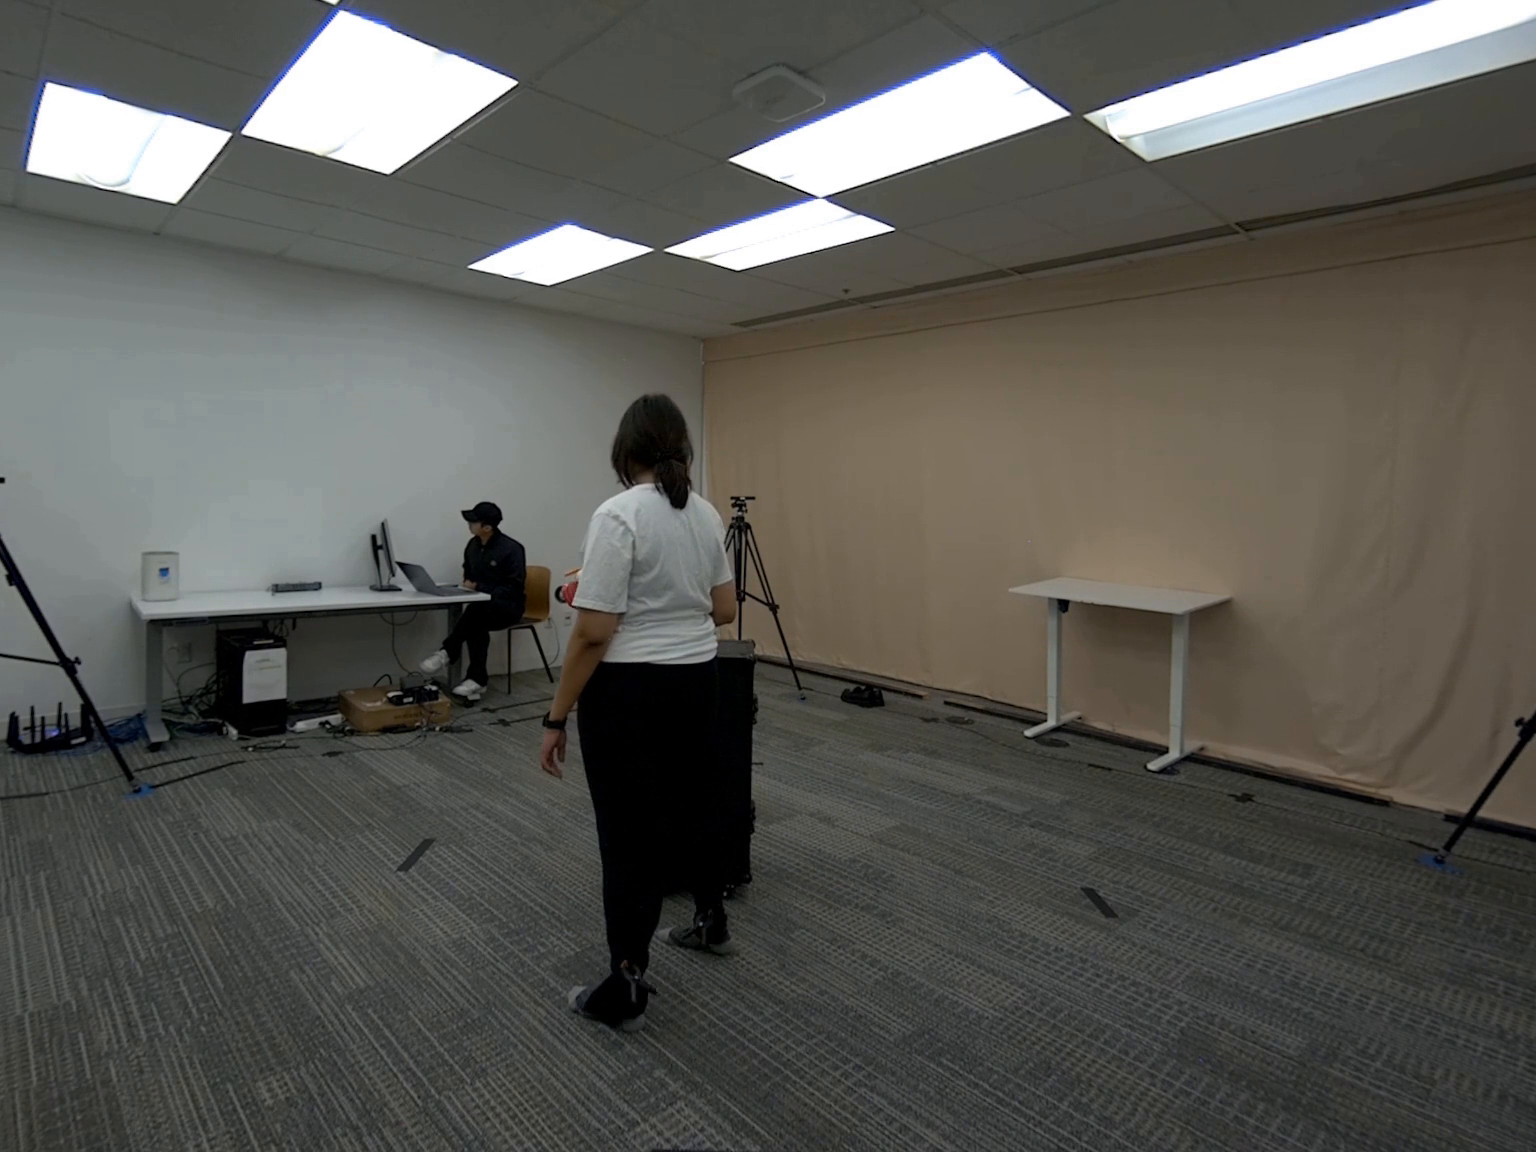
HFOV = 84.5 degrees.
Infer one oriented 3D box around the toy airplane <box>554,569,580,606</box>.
[{"bbox_3d":[-0.513,0.087,2.555,0.255,0.156,0.255,43,11,-14],"label":"toy airplane"}]
